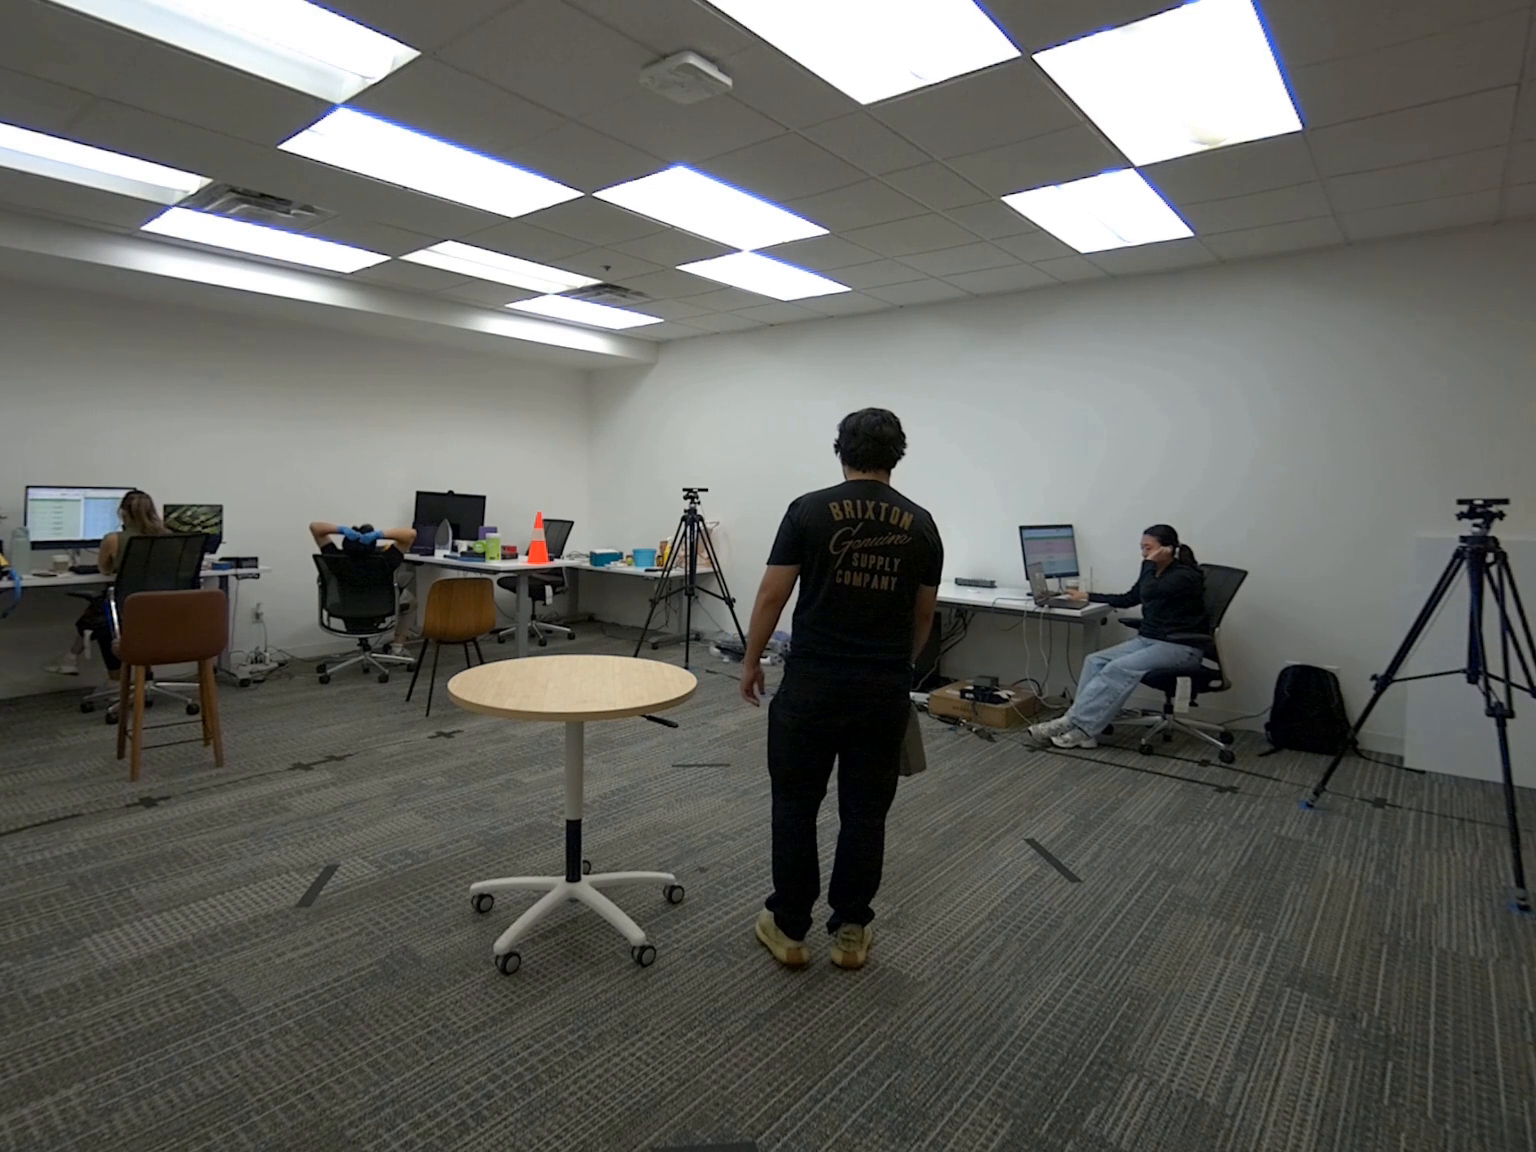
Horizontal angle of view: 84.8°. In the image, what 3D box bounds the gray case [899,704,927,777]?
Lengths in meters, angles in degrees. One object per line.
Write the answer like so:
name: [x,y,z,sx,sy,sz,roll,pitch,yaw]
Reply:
gray case: [0.421,0.506,2.859,0.103,0.260,0.259,-8,3,-9]
